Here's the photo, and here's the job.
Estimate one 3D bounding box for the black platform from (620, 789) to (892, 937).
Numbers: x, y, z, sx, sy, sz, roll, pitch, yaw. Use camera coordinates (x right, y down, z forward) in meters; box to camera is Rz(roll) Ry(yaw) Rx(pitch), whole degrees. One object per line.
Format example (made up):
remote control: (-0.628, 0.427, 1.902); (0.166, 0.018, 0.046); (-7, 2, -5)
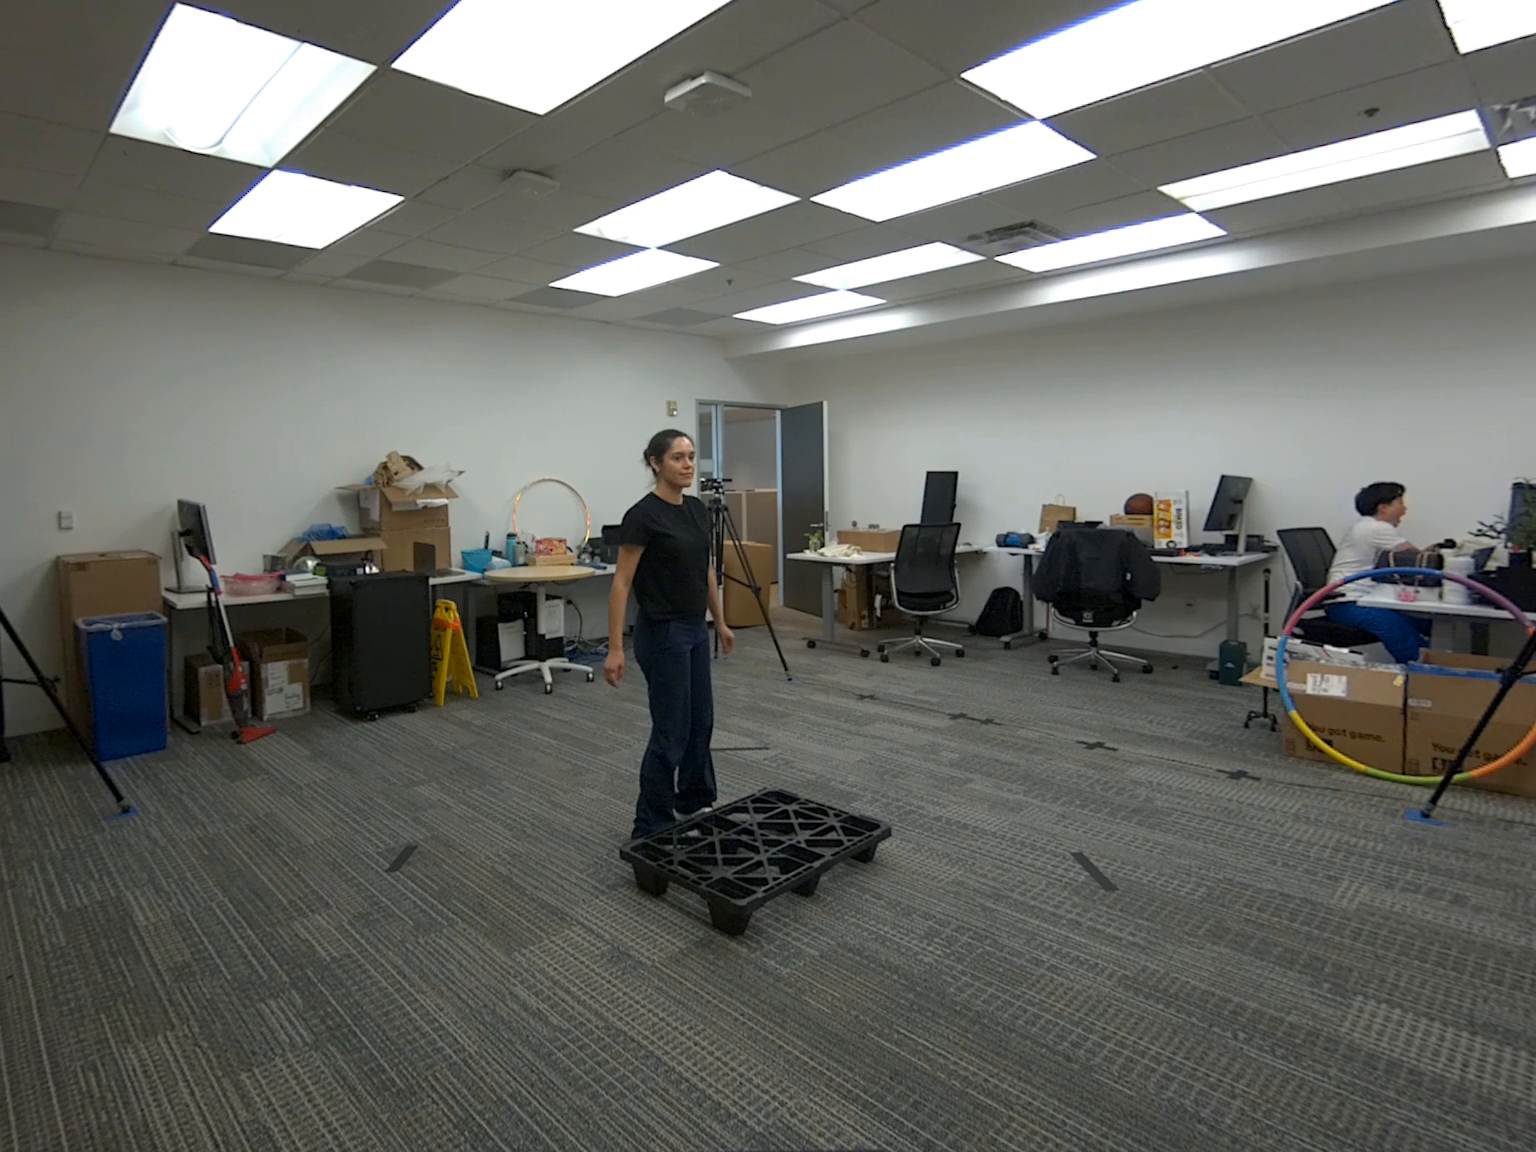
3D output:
black platform: (-0.034, 0.988, 3.029); (0.624, 0.143, 0.784); (4, 8, 43)
